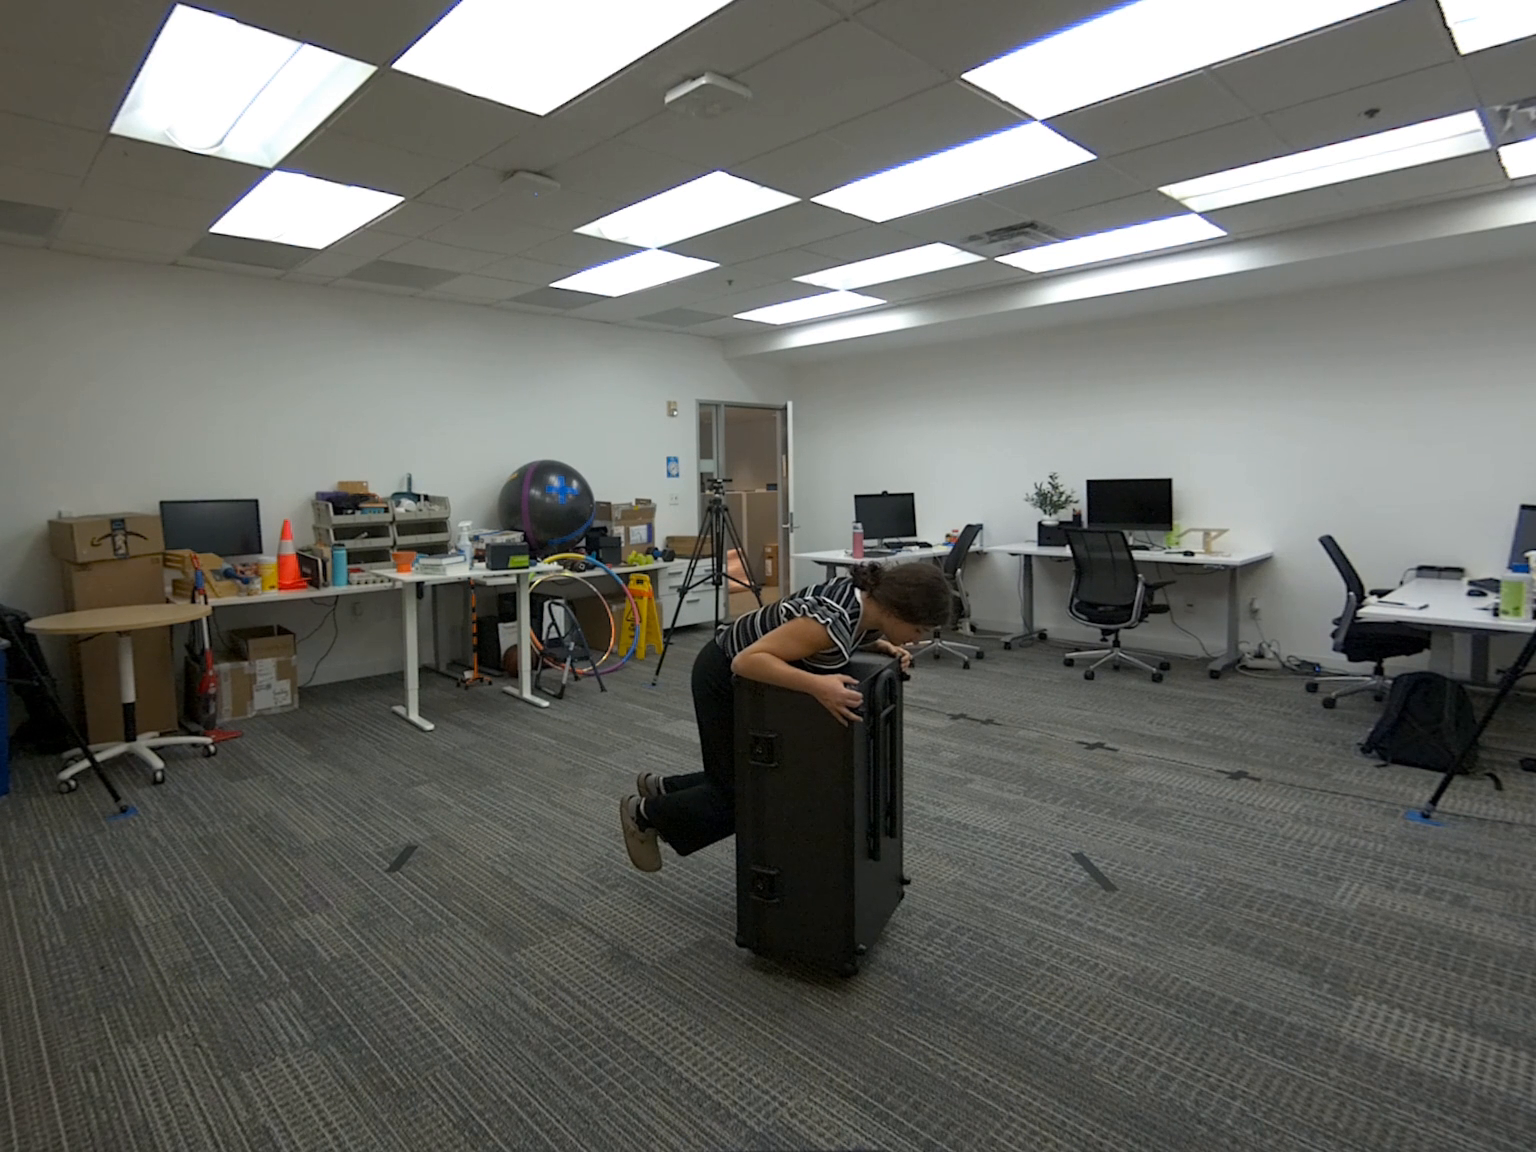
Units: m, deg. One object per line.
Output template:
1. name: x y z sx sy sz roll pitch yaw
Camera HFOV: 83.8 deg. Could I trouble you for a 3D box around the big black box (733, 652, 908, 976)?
1. big black box: 0.186 0.697 2.536 0.406 0.858 0.511 1 5 26
